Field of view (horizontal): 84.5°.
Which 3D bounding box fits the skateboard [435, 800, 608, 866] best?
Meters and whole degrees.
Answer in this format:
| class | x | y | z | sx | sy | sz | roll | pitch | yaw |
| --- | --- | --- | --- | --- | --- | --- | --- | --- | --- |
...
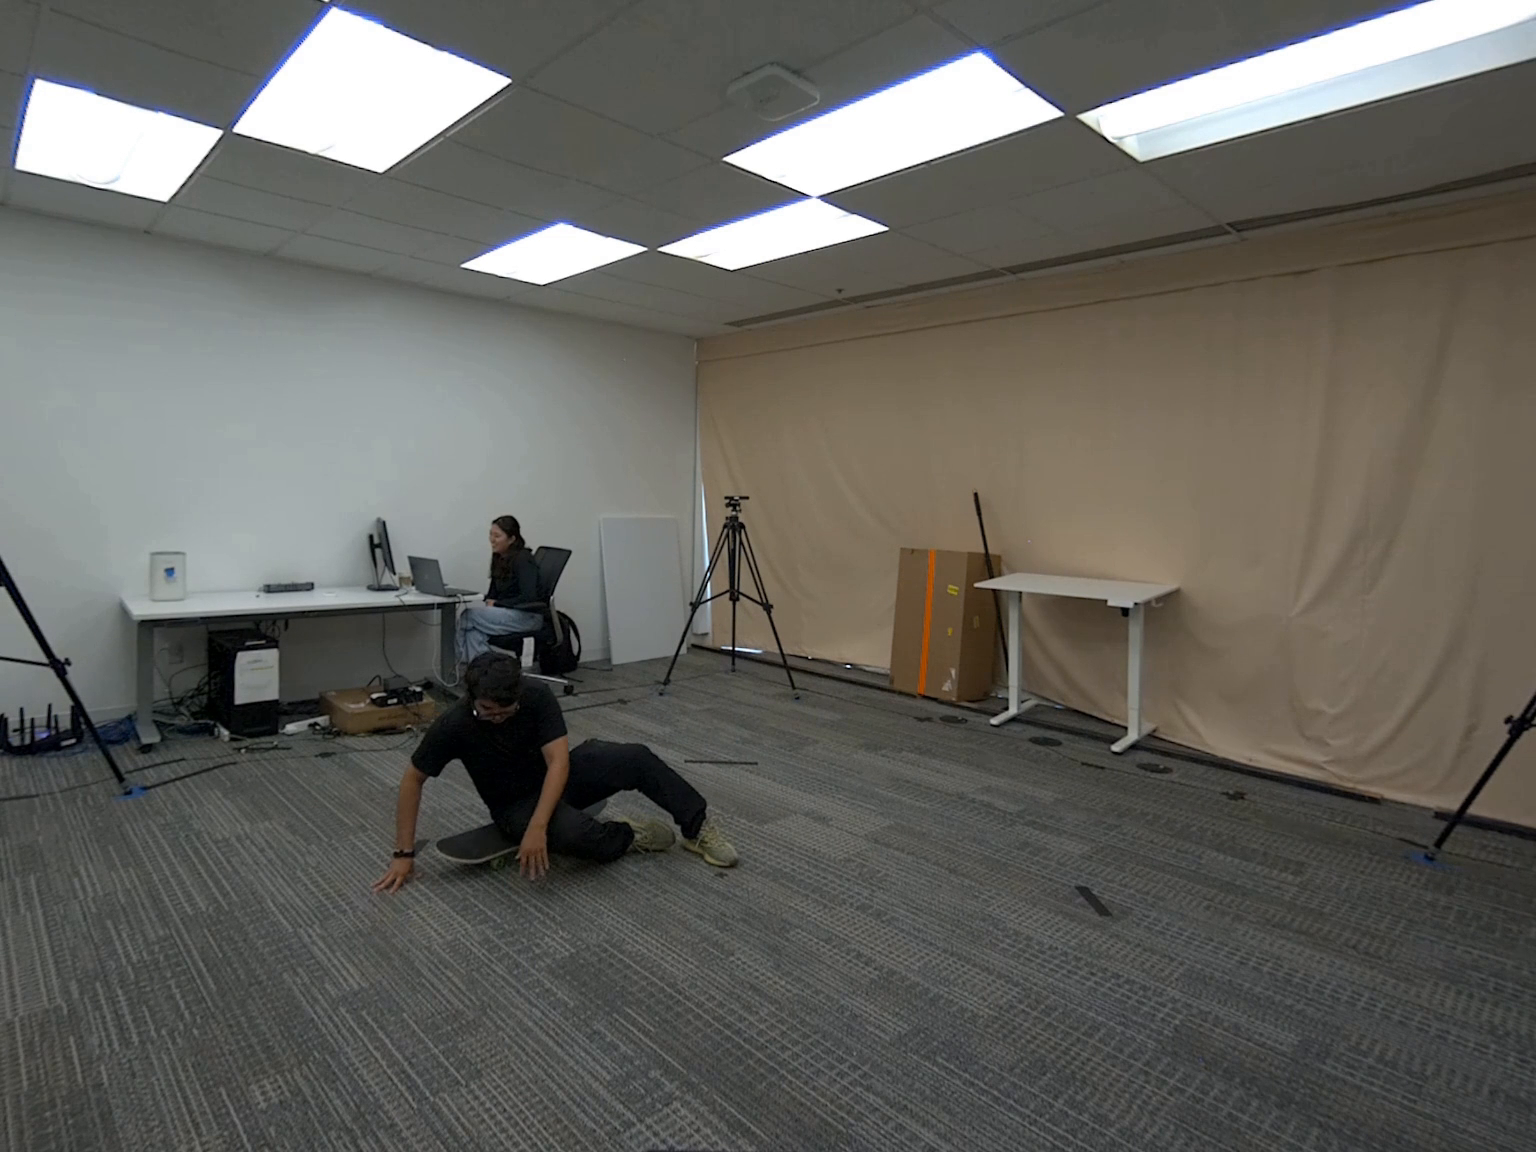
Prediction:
| class | x | y | z | sx | sy | sz | roll | pitch | yaw |
| --- | --- | --- | --- | --- | --- | --- | --- | --- | --- |
| skateboard | -0.942 | 1.003 | 3.305 | 0.199 | 0.109 | 0.769 | 15 | 13 | 35 |
